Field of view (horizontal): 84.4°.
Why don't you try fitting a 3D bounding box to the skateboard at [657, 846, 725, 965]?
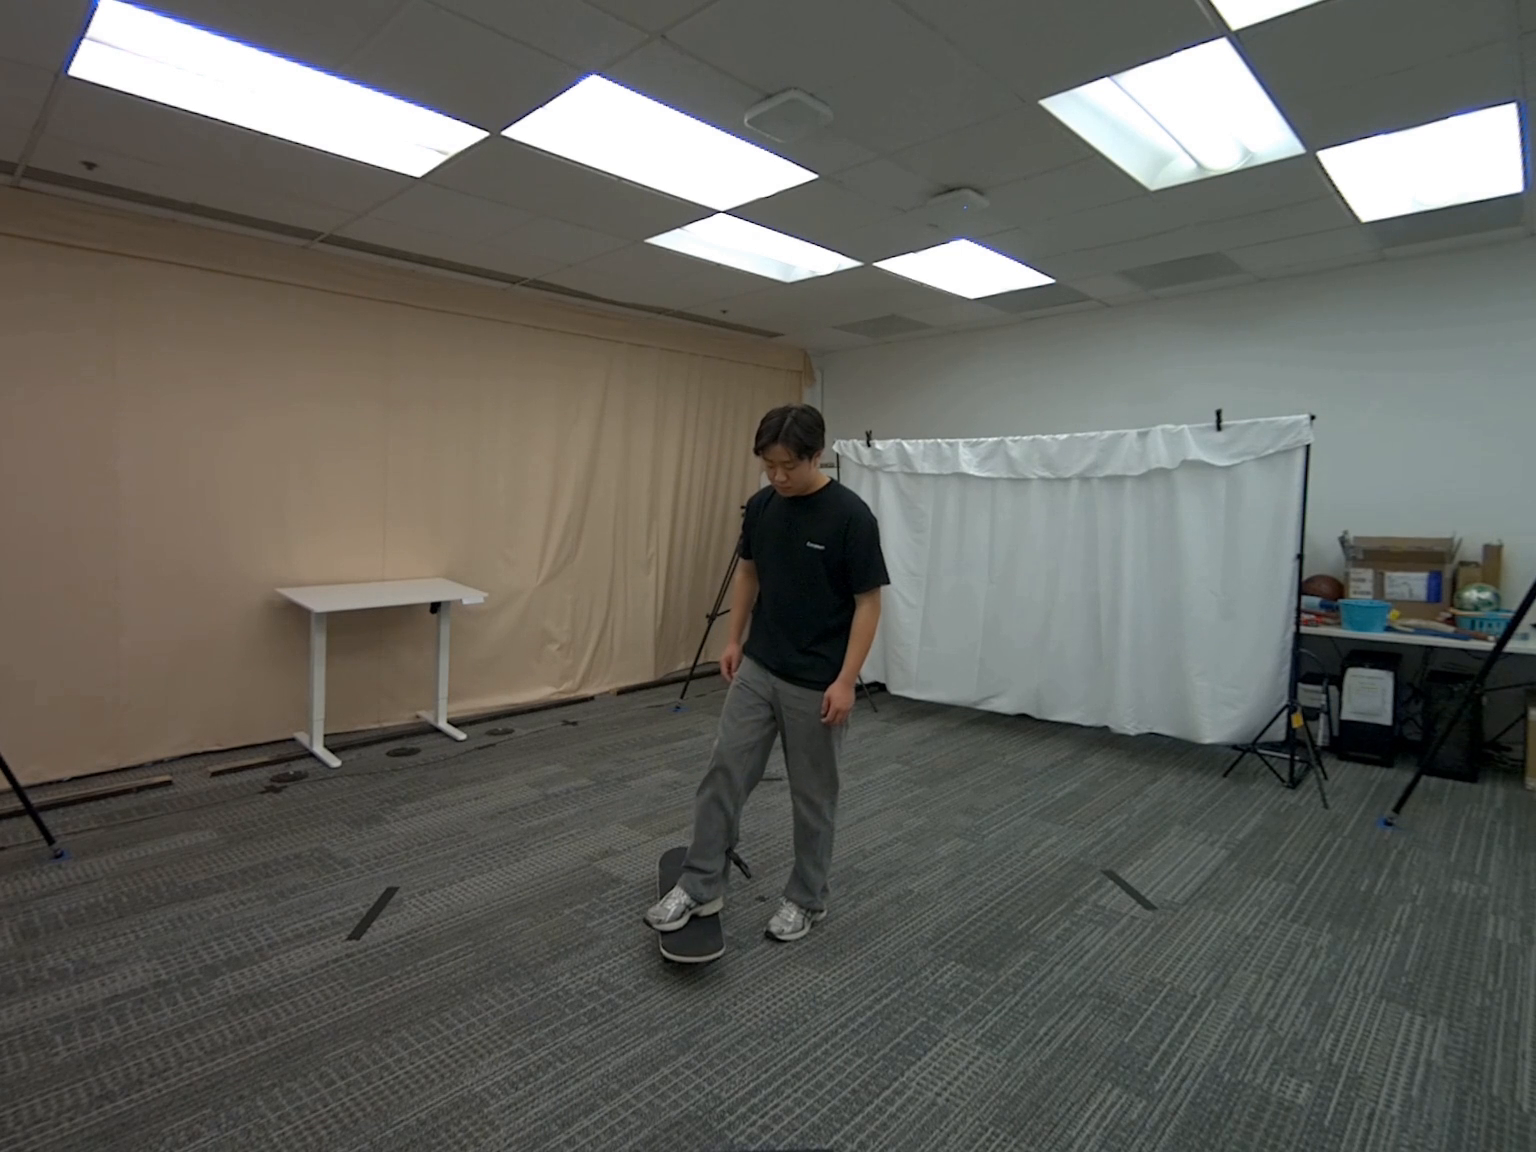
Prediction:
[{"bbox_3d":[-0.265,1.105,2.797,0.192,0.110,0.792,-1,5,-7],"label":"skateboard"}]
